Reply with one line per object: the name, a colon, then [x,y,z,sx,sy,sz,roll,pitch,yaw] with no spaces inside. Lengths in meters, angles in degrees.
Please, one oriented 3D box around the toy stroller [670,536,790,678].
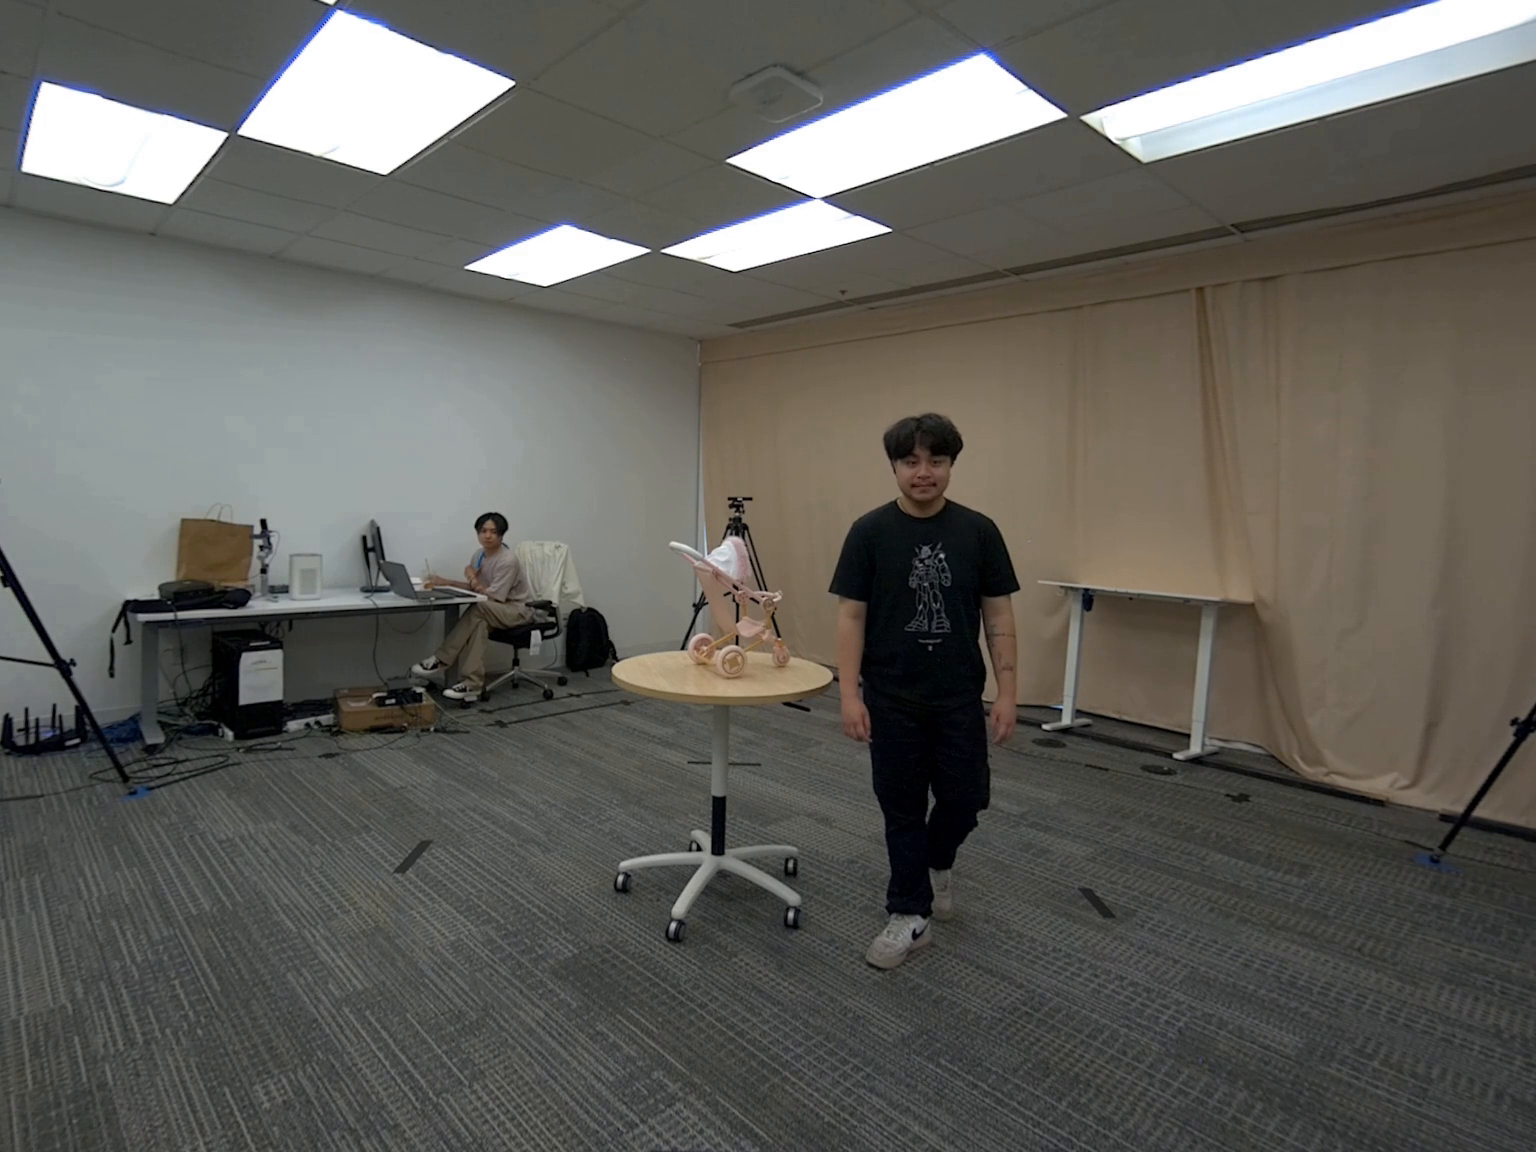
toy stroller: [-0.115,0.101,2.932,0.337,0.531,0.287,-14,10,-20]
